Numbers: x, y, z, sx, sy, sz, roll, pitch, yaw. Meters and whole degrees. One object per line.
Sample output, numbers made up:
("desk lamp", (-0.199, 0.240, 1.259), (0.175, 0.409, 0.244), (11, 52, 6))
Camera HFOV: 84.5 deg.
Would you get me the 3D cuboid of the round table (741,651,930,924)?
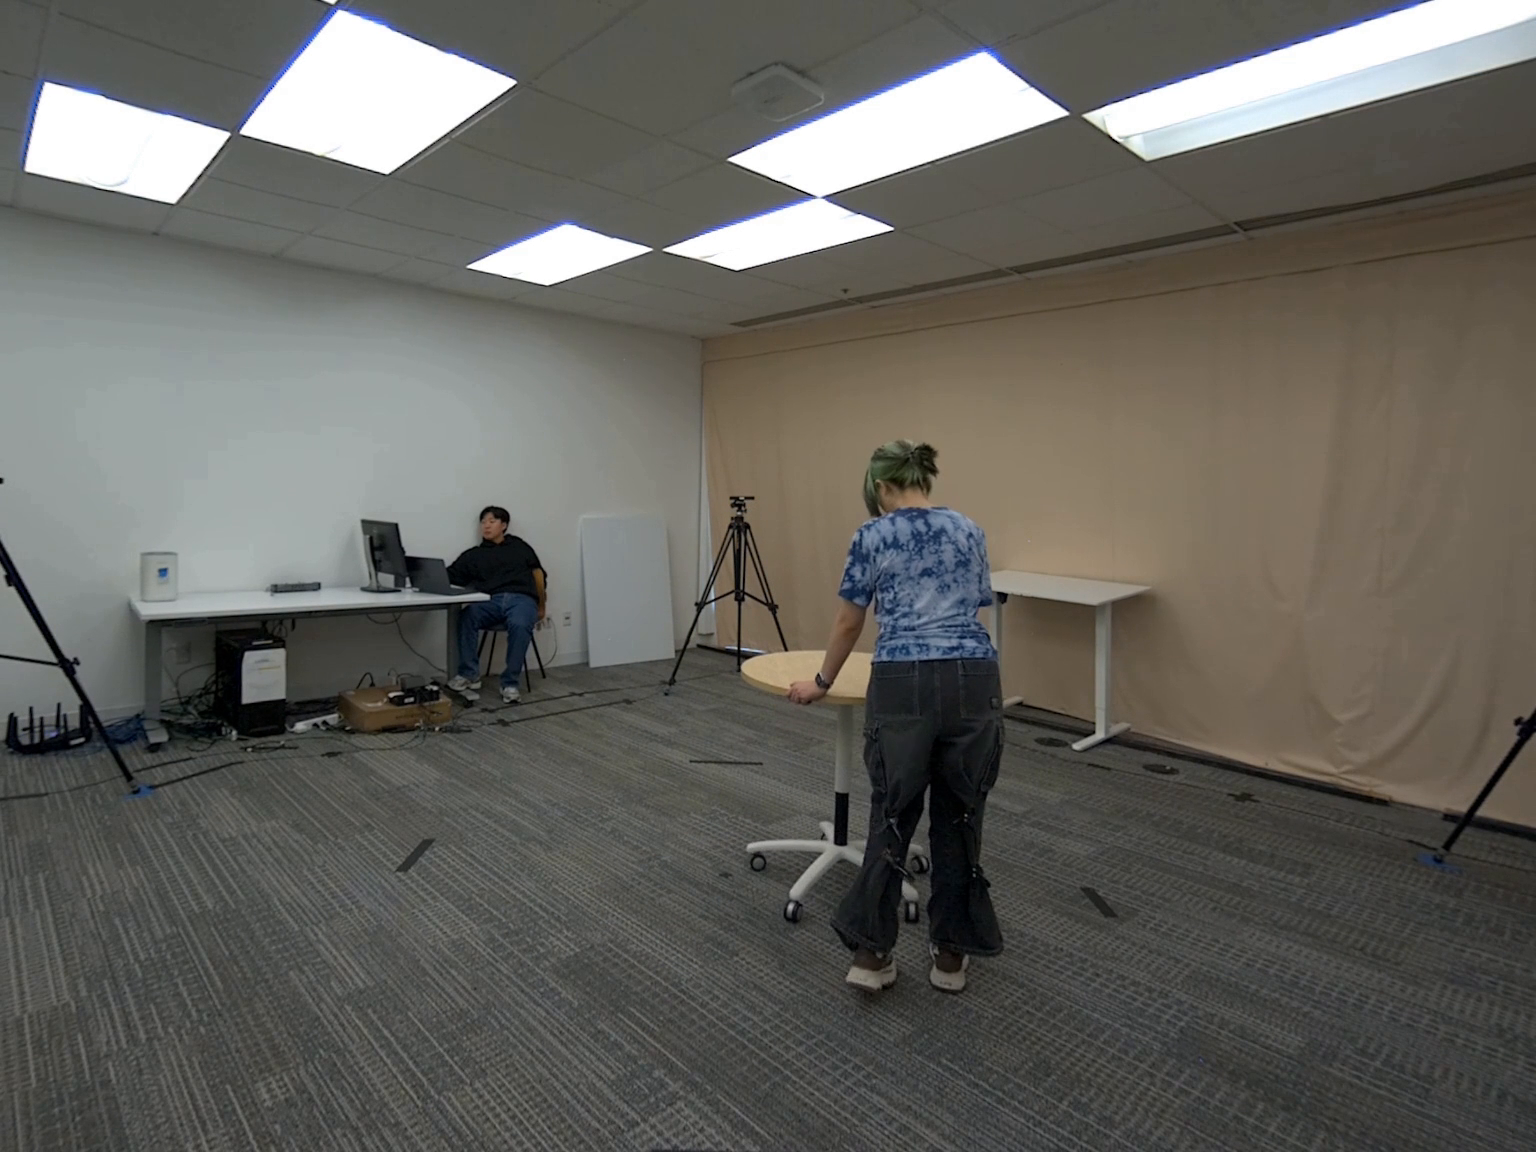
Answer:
("round table", (0.267, 0.735, 3.052), (0.763, 0.792, 0.767), (2, 4, -1))
